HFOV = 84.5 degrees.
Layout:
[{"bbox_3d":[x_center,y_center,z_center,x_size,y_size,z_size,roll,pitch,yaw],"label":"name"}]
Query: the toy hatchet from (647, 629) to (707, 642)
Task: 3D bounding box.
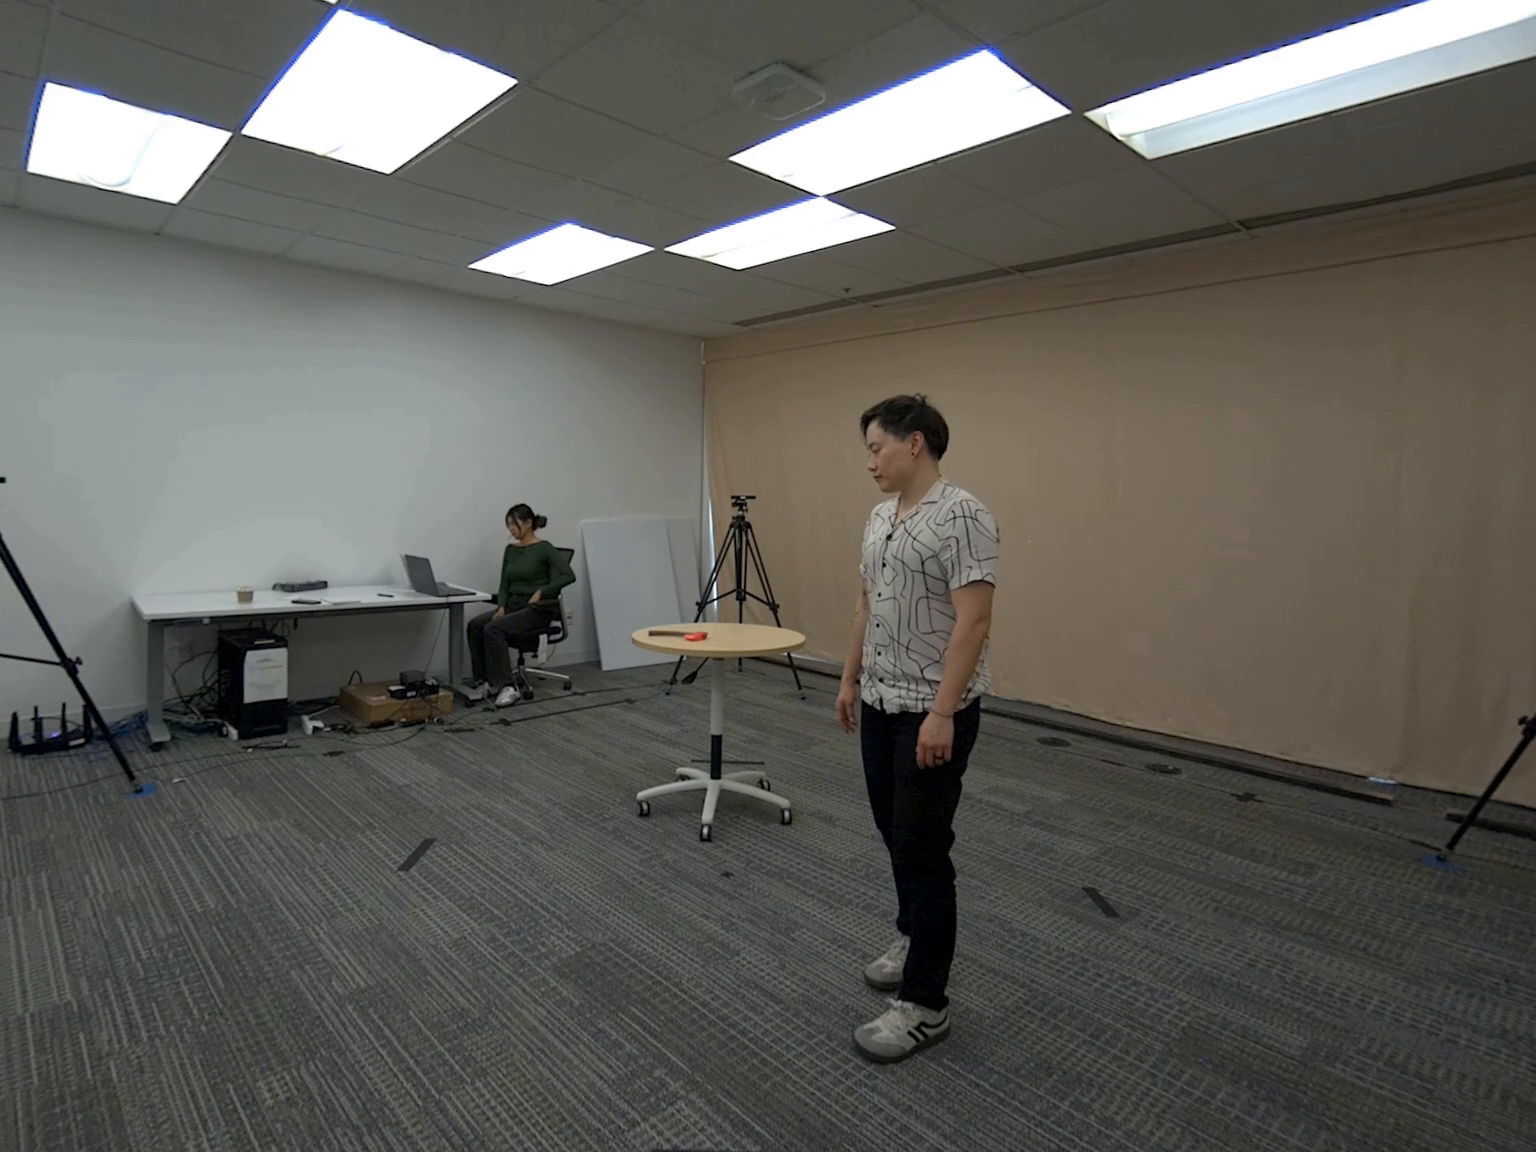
[{"bbox_3d":[-0.410,0.260,3.631,0.272,0.029,0.131,0,8,7],"label":"toy hatchet"}]
